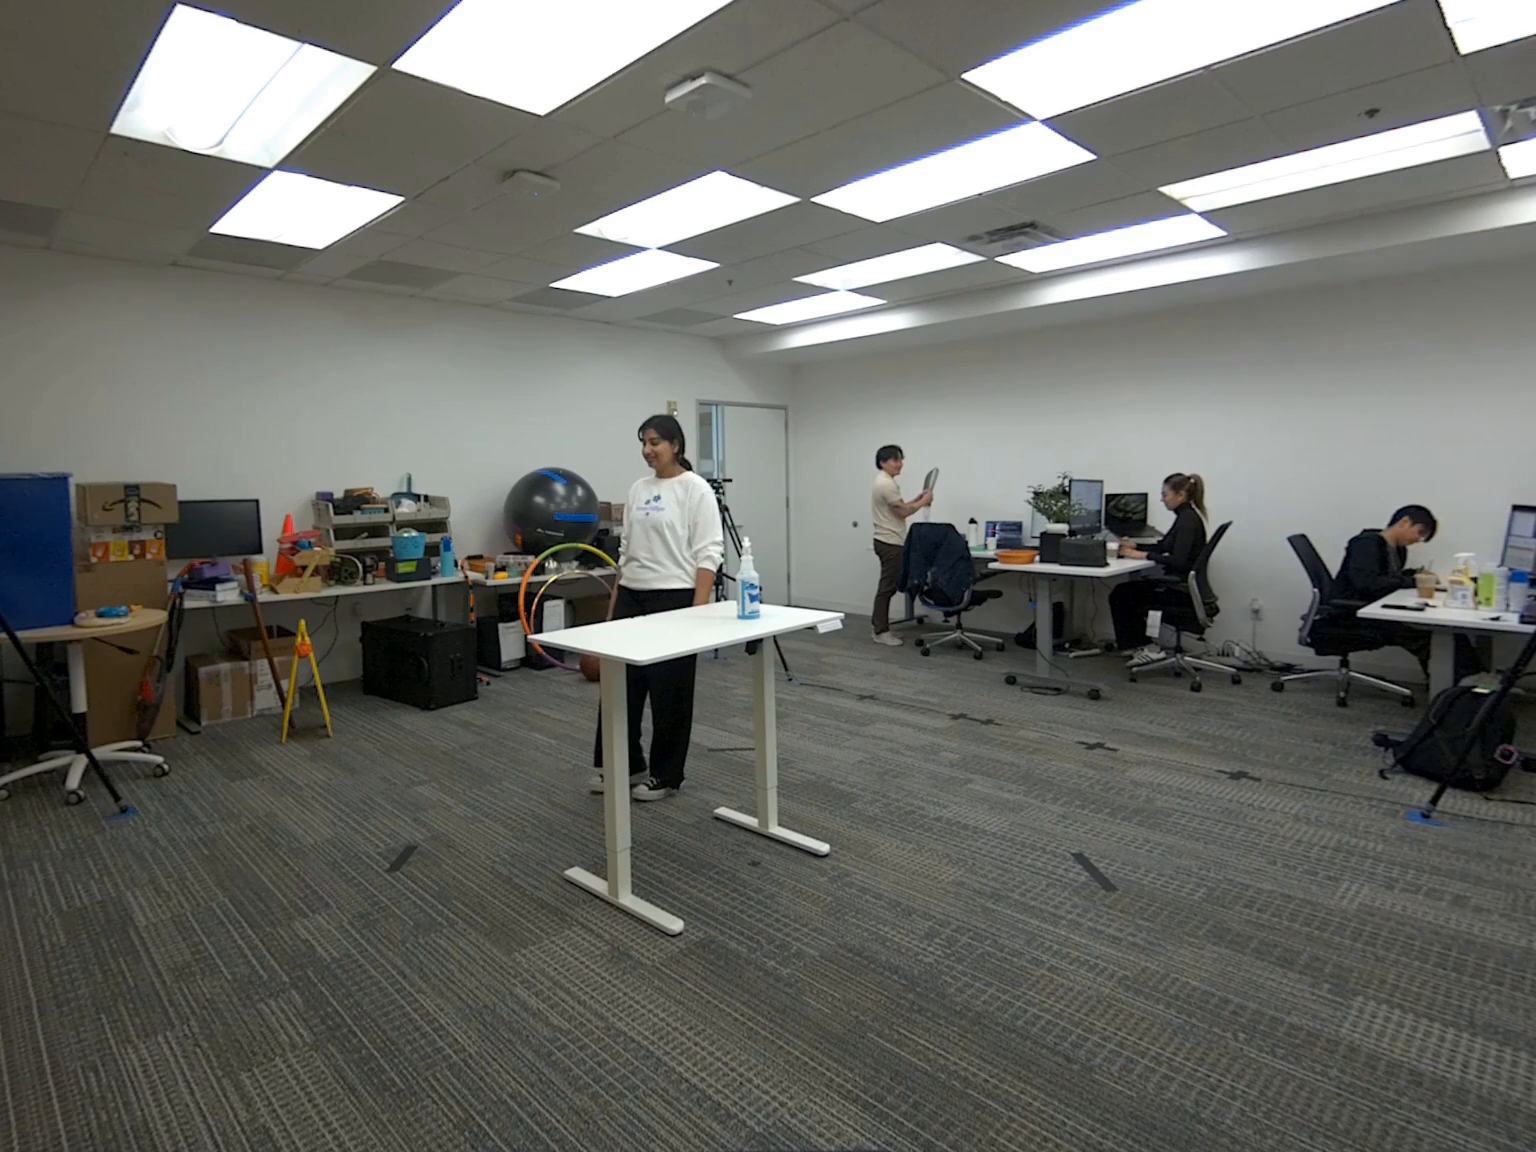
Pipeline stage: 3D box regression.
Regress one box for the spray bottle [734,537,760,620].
[{"bbox_3d":[-0.073,0.009,3.162,0.089,0.296,0.088,0,4,25],"label":"spray bottle"}]
